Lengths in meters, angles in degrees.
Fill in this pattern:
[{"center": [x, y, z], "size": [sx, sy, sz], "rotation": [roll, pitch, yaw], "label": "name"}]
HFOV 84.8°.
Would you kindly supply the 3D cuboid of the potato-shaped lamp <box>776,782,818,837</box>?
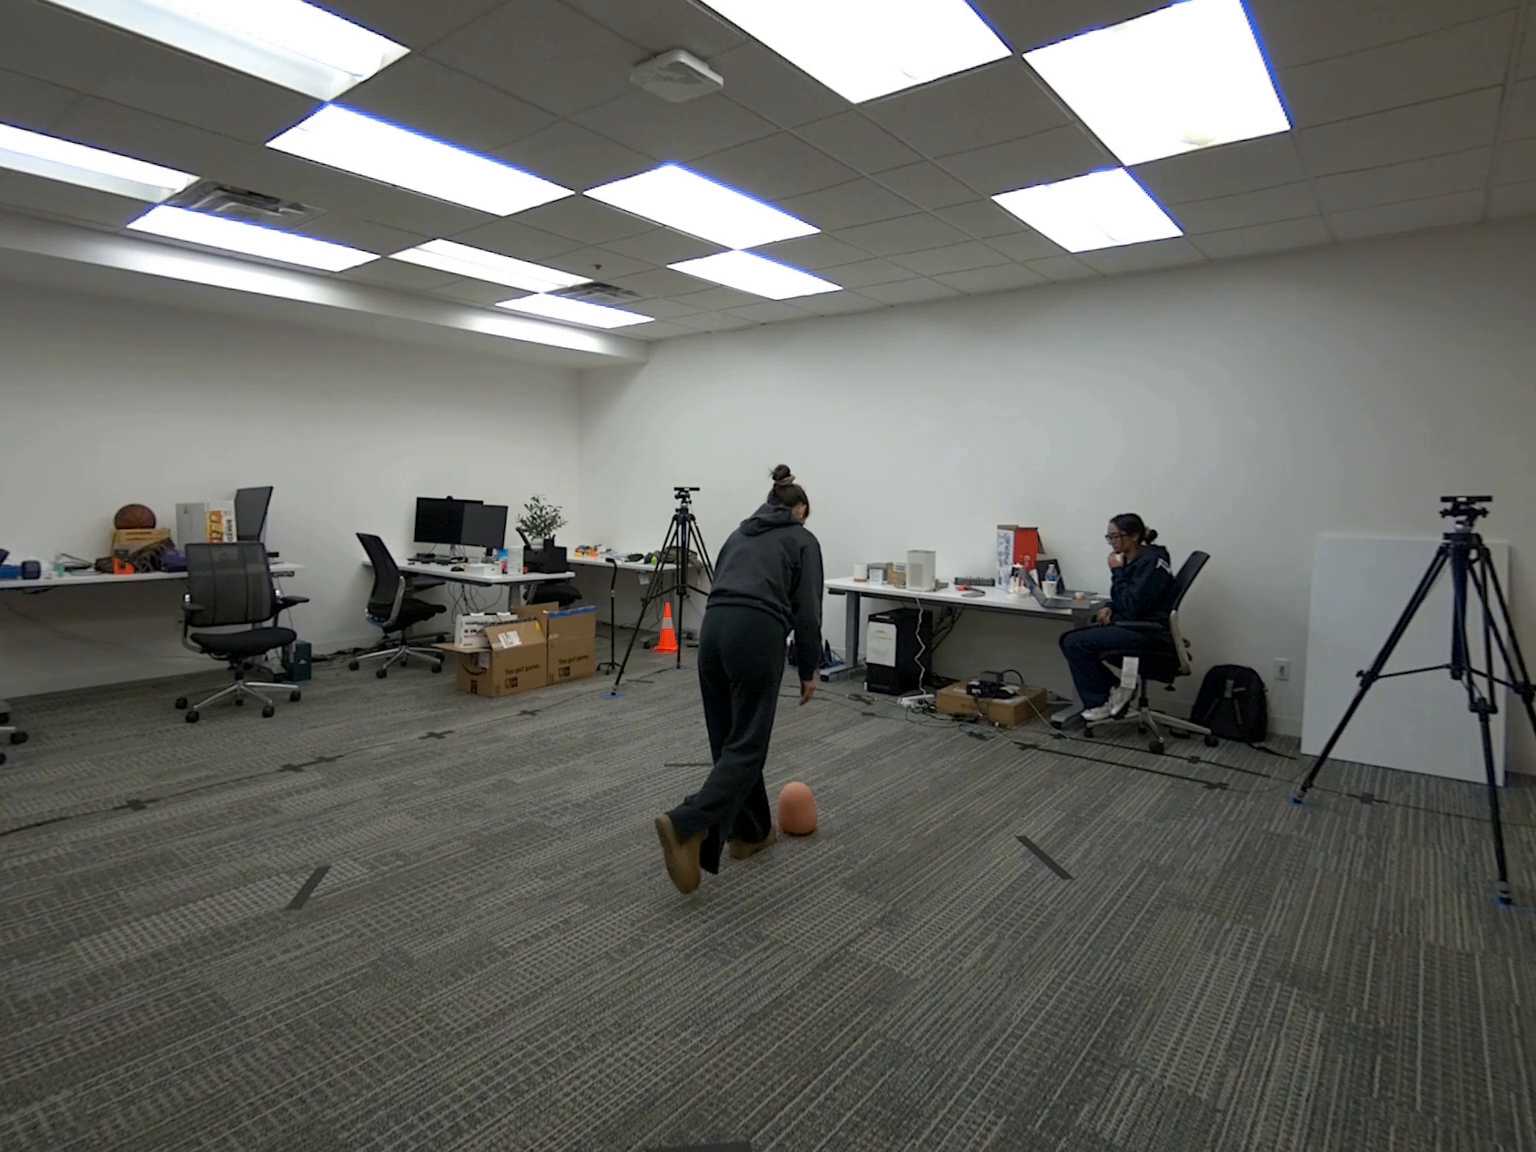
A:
[{"center": [0.119, 0.935, 3.473], "size": [0.169, 0.197, 0.167], "rotation": [1, 6, 29], "label": "potato-shaped lamp"}]
